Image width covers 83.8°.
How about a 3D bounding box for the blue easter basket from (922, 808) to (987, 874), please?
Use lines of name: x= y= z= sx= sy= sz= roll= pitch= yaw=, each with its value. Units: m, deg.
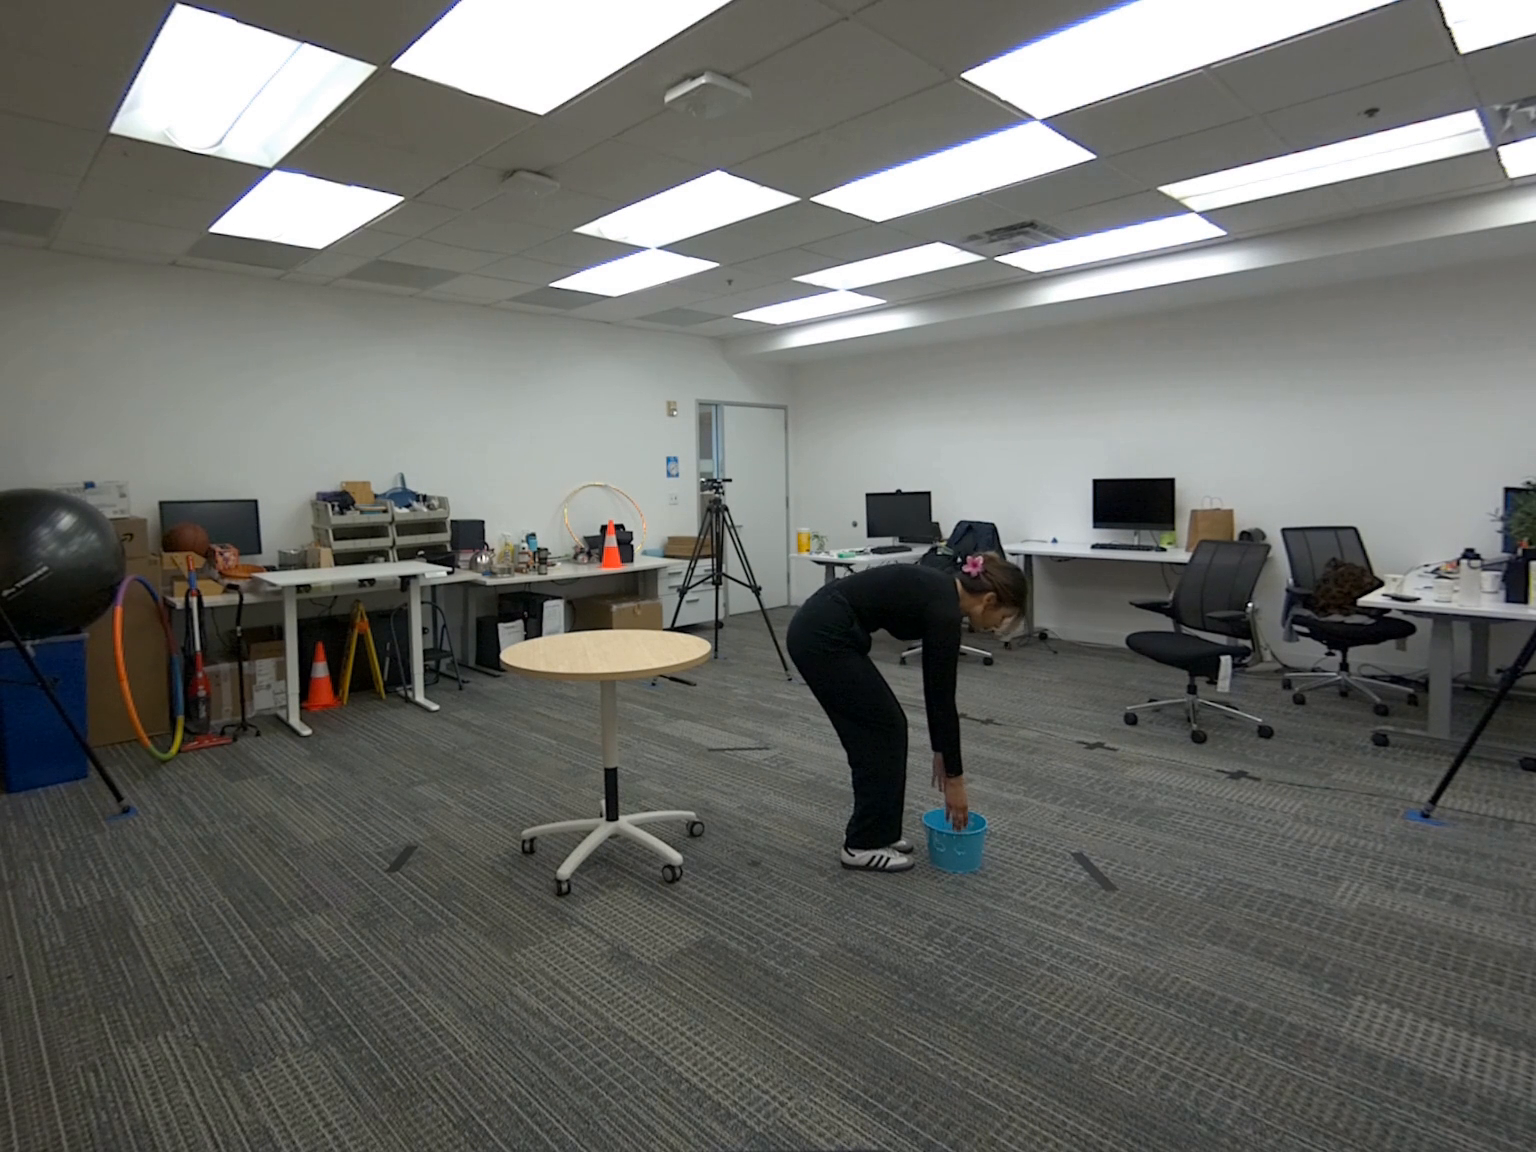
blue easter basket: x=0.672 y=0.948 z=3.089 sx=0.243 sy=0.155 sz=0.245 roll=-1 pitch=6 yaw=-2
